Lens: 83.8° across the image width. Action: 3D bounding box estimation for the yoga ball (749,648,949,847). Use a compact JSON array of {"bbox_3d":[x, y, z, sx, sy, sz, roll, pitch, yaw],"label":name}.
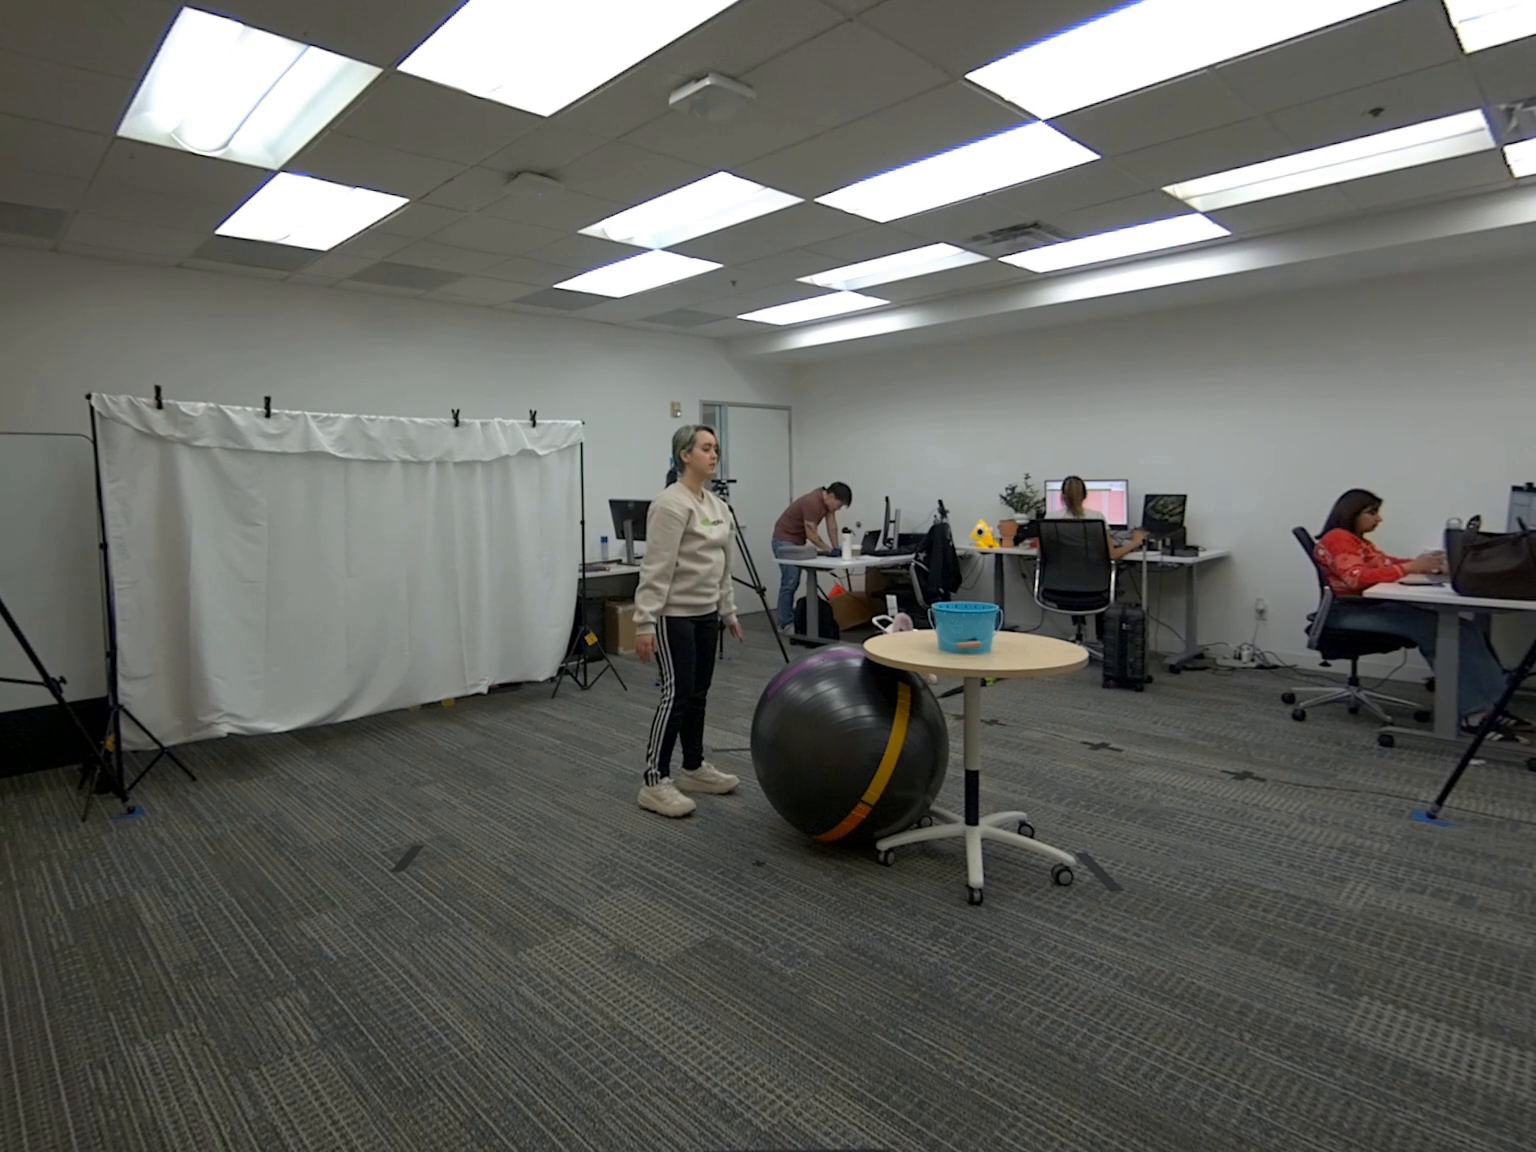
[{"bbox_3d":[0.307,0.645,3.299,0.757,0.755,0.762,-1,5,-2],"label":"yoga ball"}]
